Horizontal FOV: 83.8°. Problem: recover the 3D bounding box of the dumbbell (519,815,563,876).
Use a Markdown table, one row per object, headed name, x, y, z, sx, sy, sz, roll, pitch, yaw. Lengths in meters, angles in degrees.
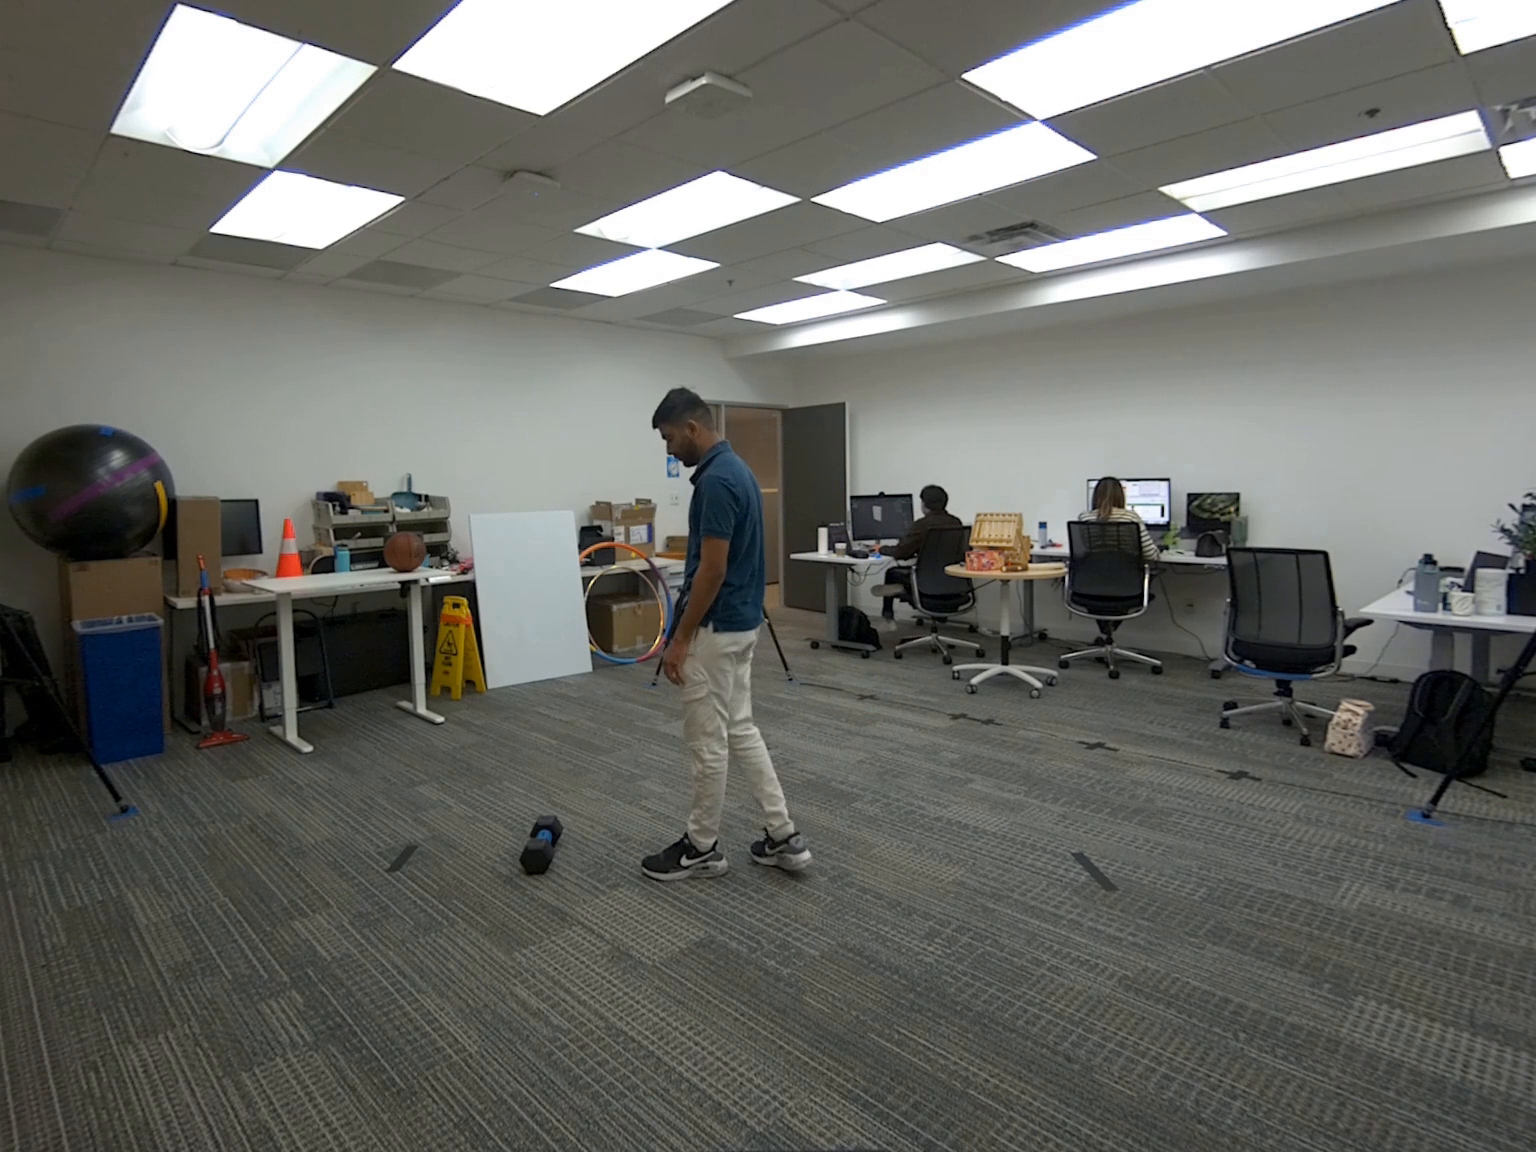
| name | x | y | z | sx | sy | sz | roll | pitch | yaw |
| --- | --- | --- | --- | --- | --- | --- | --- | --- | --- |
| dumbbell | -0.839 | 0.998 | 3.184 | 0.122 | 0.108 | 0.296 | -2 | 6 | -4 |
